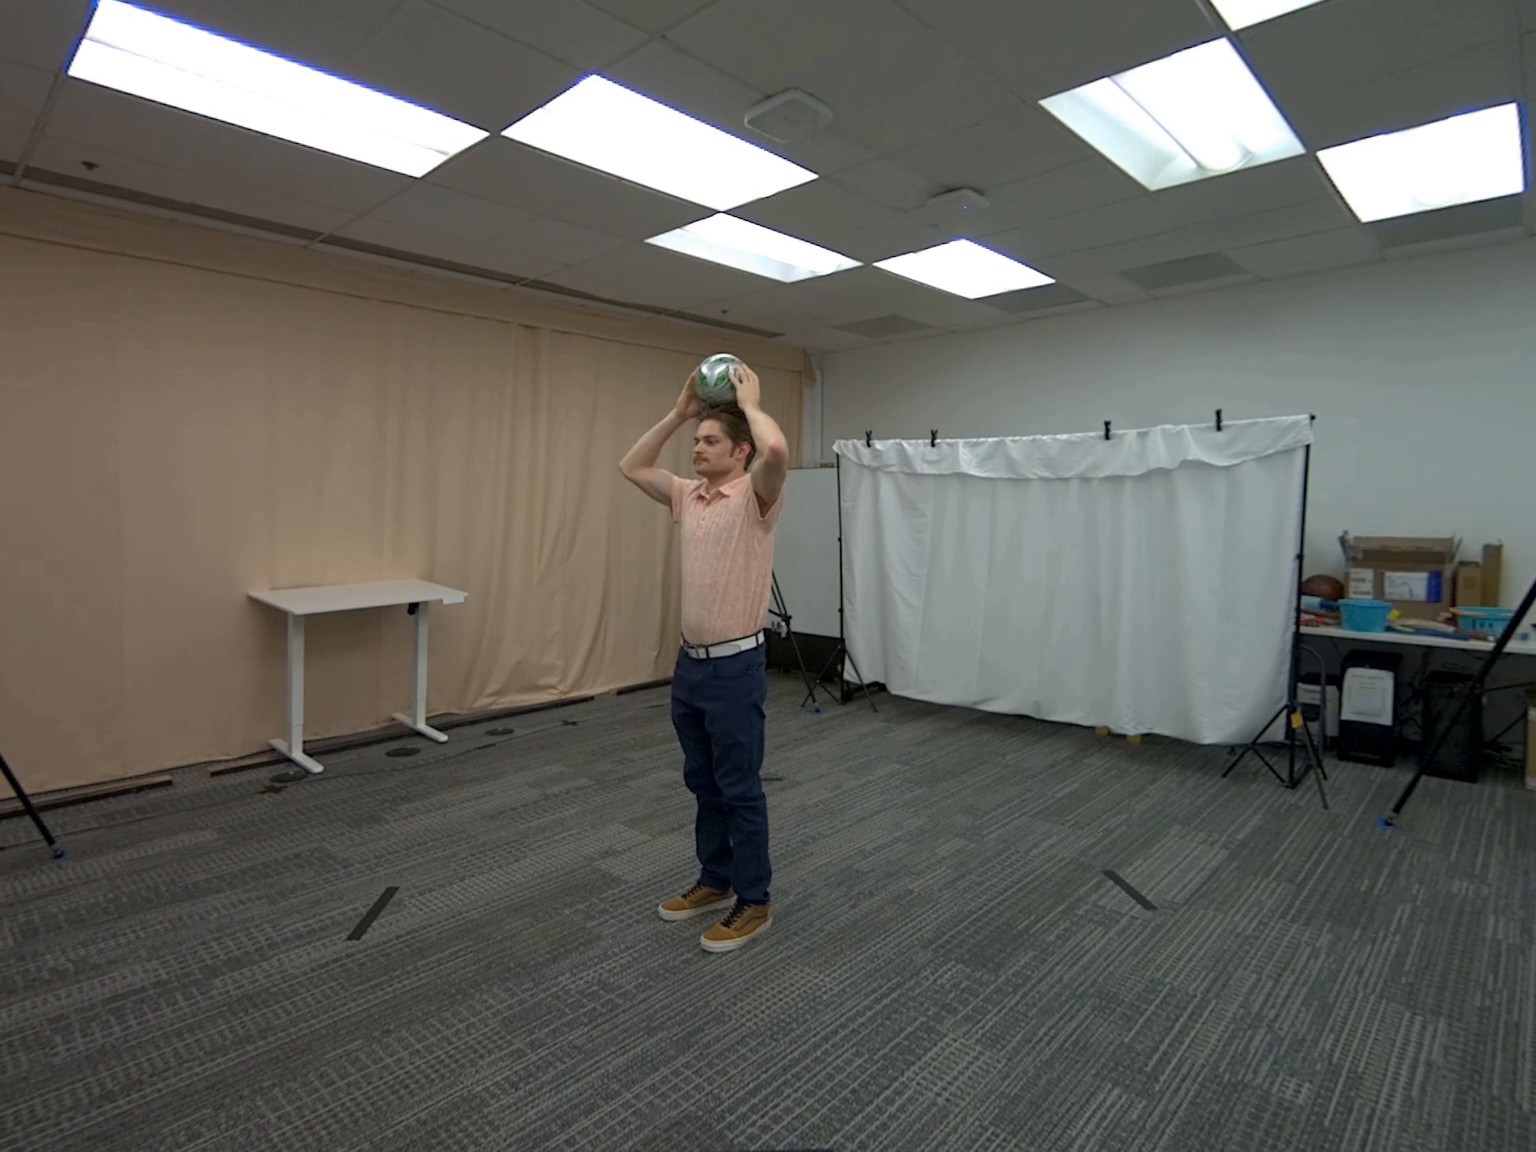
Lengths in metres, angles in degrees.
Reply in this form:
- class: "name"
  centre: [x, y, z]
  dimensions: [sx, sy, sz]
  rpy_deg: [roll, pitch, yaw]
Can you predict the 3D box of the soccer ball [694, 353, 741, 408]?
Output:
- class: "soccer ball"
  centre: [-0.143, -0.631, 2.771]
  dimensions: [0.187, 0.187, 0.188]
  rpy_deg: [0, 4, -2]
